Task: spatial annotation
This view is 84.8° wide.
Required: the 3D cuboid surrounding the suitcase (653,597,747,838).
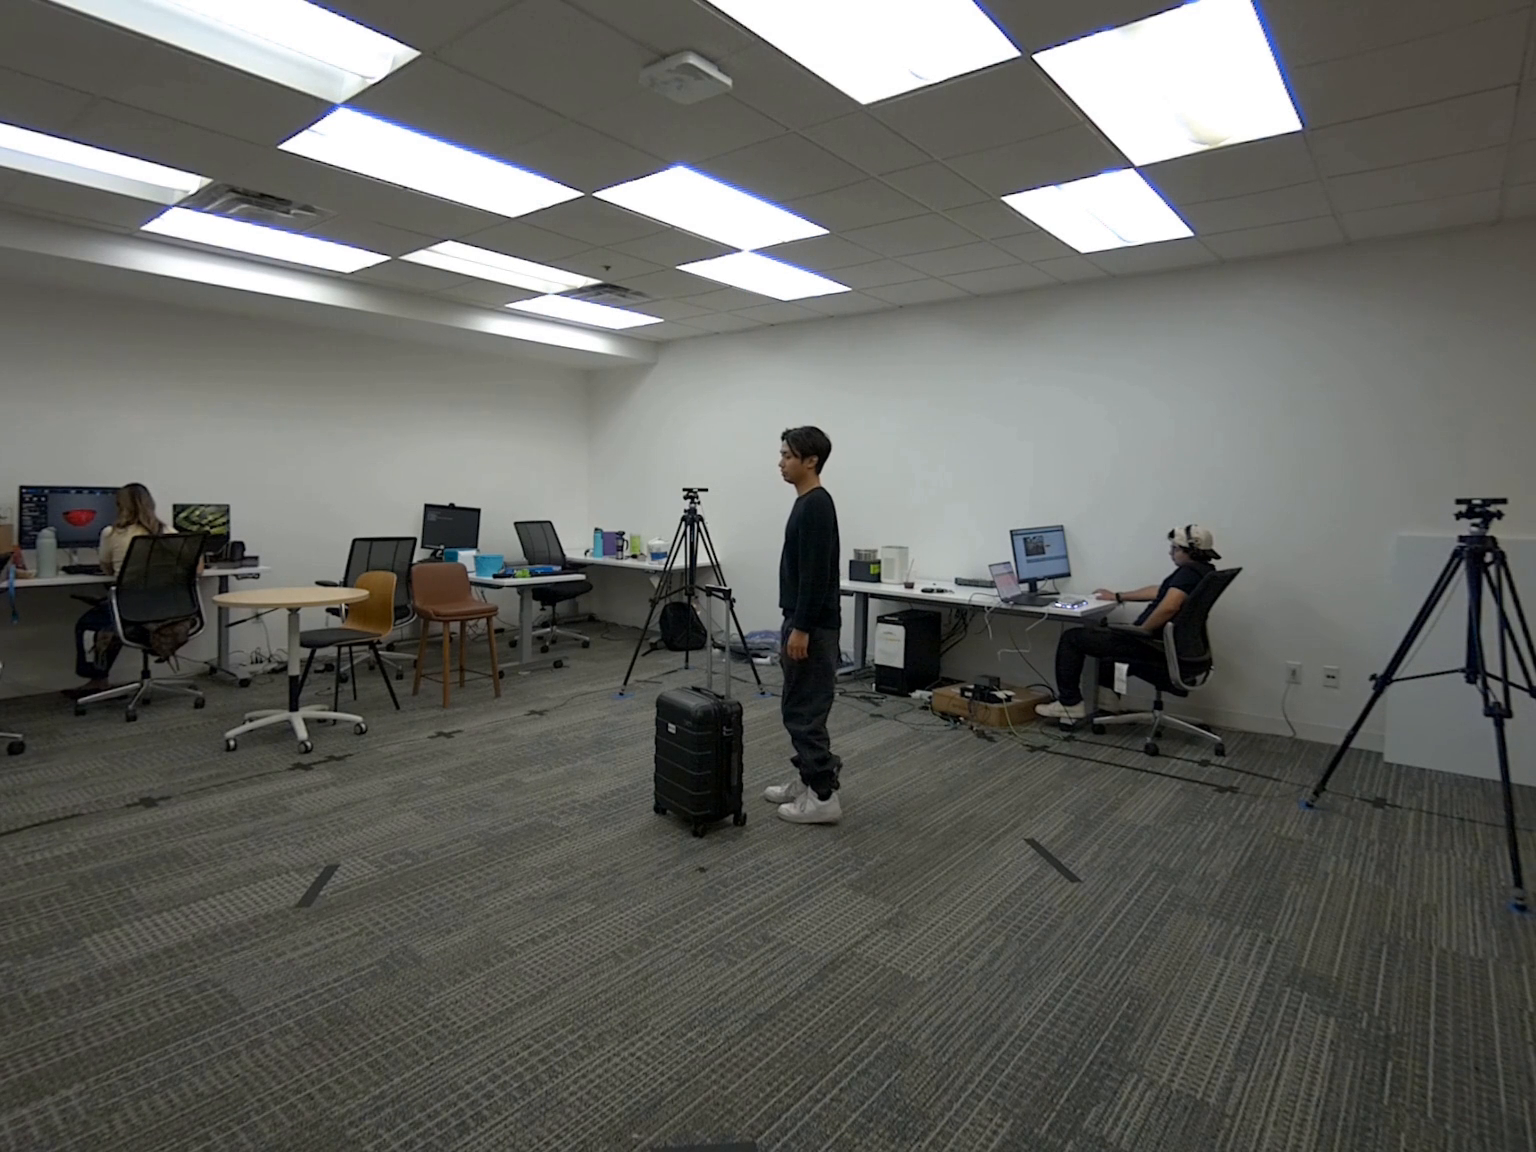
[{"bbox_3d":[-0.305,0.552,3.541,0.250,0.974,0.397,-4,6,-37],"label":"suitcase"}]
